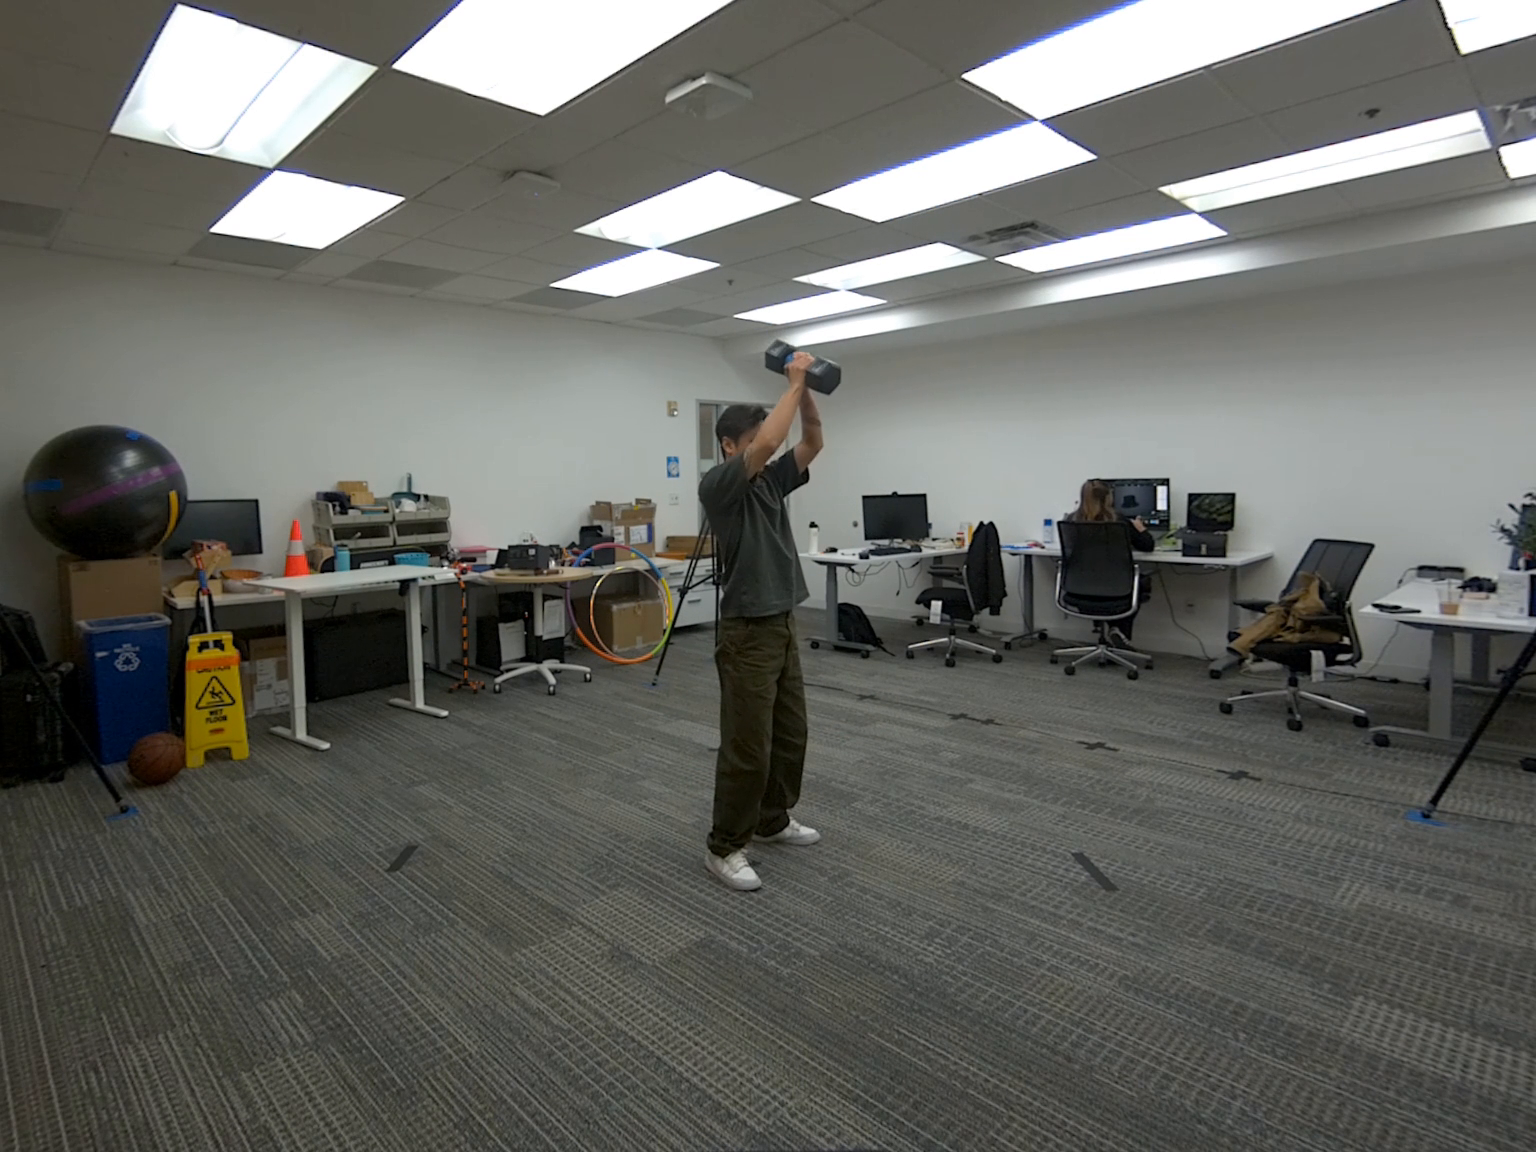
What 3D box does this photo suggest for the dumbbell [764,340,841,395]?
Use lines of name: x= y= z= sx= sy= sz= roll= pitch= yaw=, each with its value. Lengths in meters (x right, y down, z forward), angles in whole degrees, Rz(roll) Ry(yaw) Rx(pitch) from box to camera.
dumbbell: x=0.122 y=-0.720 z=2.949 sx=0.305 sy=0.123 sz=0.104 roll=37 pitch=-9 yaw=40
